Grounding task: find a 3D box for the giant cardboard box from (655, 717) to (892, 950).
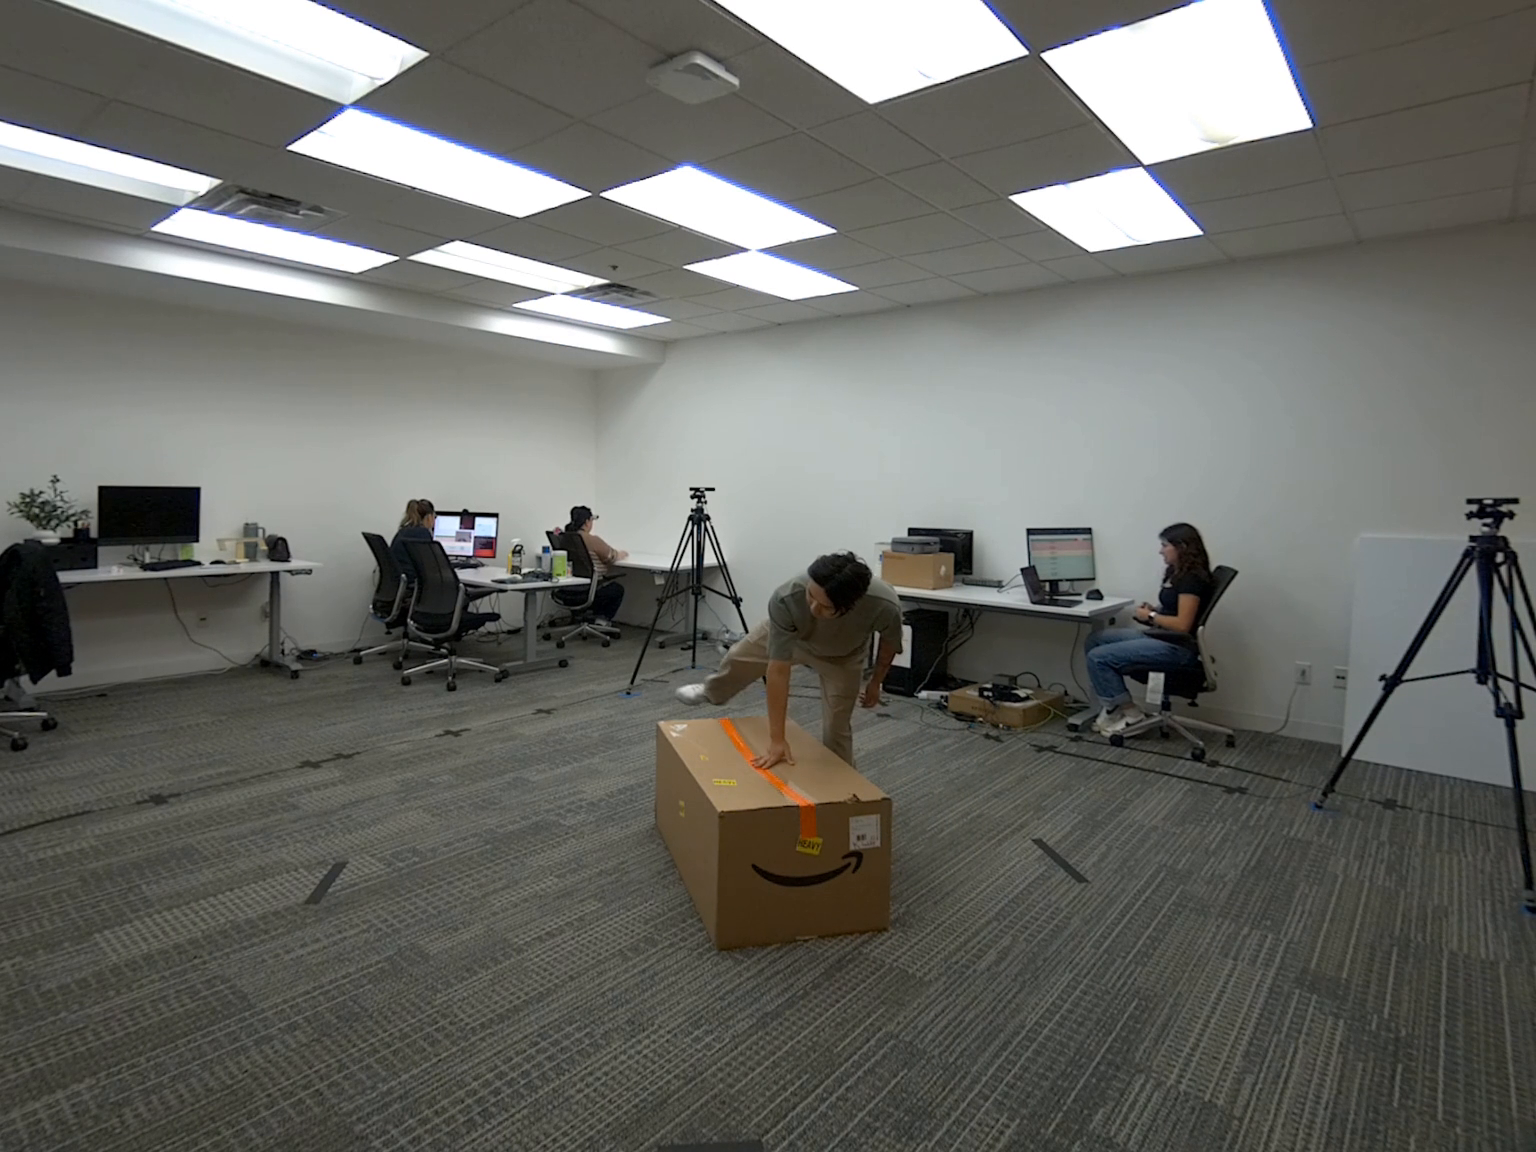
[{"bbox_3d":[-0.047,0.858,3.101,0.568,0.425,1.047,-1,5,-17],"label":"giant cardboard box"}]
